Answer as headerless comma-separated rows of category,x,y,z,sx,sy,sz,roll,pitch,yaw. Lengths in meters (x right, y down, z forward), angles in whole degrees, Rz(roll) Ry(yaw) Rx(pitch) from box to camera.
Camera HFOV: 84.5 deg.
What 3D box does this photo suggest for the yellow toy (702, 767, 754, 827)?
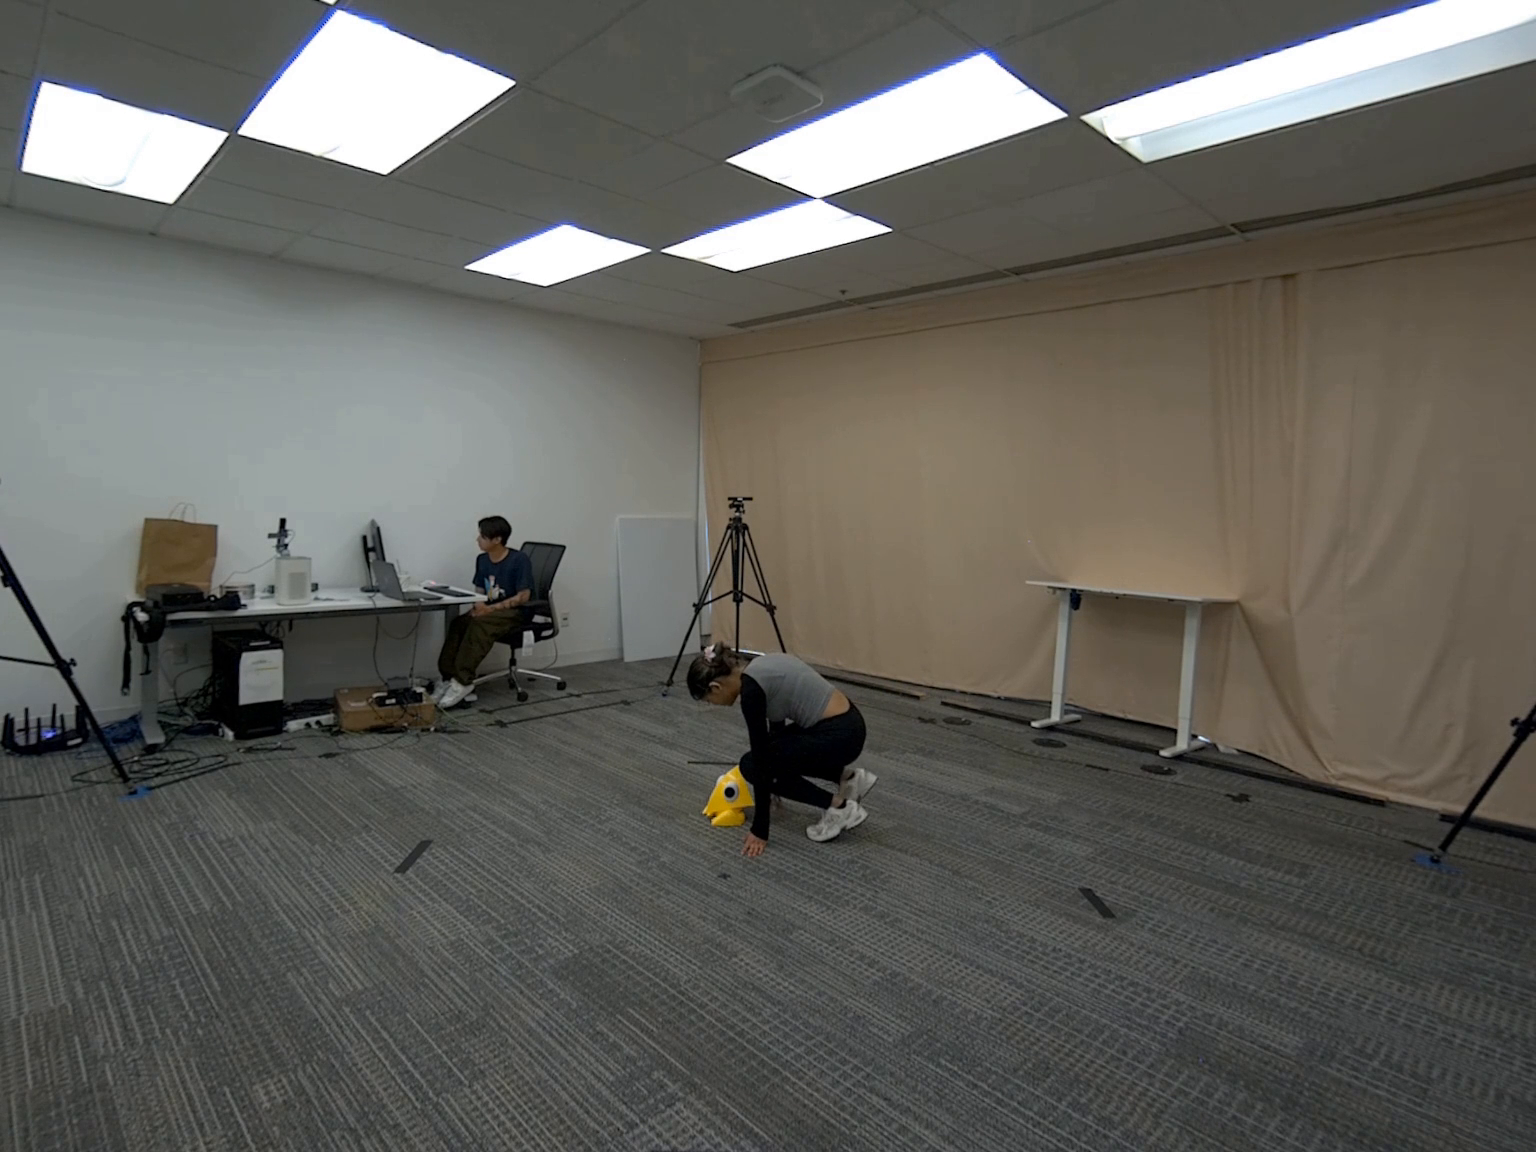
yellow toy,-0.188,0.946,3.684,0.190,0.230,0.208,-1,5,-20
